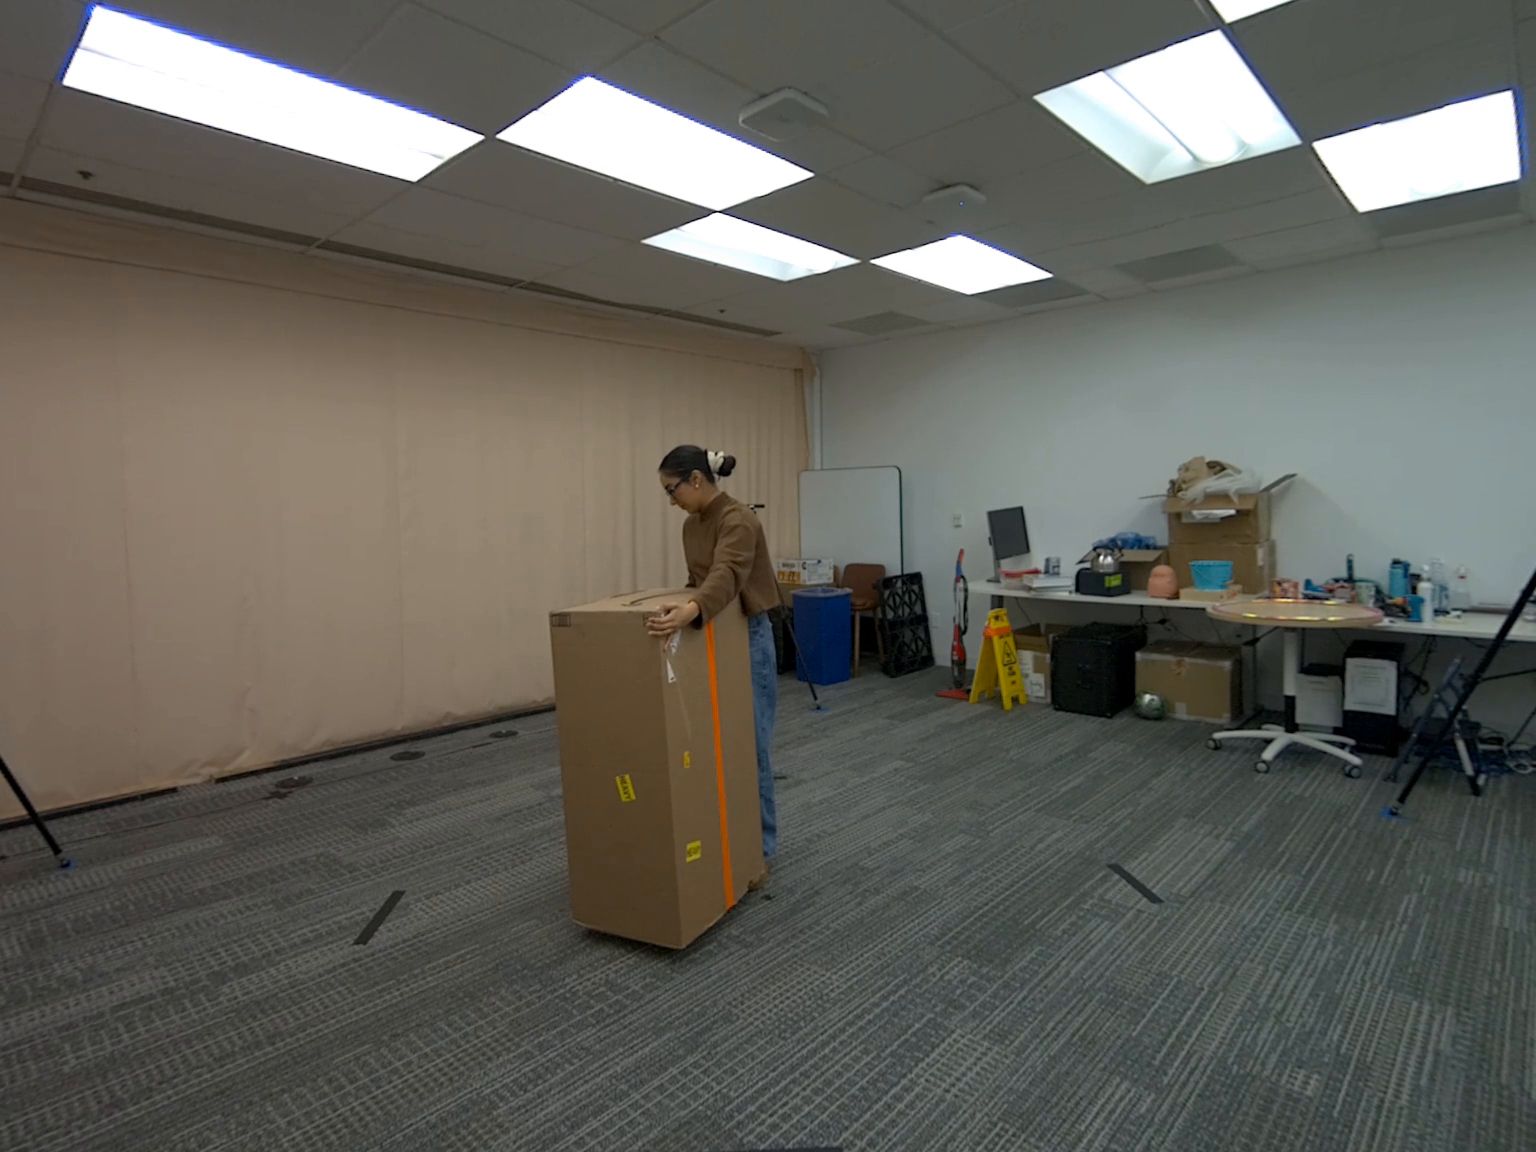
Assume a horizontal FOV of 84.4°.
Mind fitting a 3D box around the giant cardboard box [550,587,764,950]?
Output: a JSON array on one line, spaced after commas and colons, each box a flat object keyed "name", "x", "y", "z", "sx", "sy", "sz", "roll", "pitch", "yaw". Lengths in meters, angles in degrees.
[{"name": "giant cardboard box", "x": -0.359, "y": 0.595, "z": 2.844, "sx": 0.438, "sy": 1.024, "sz": 0.563, "roll": -3, "pitch": 3, "yaw": 28}]
